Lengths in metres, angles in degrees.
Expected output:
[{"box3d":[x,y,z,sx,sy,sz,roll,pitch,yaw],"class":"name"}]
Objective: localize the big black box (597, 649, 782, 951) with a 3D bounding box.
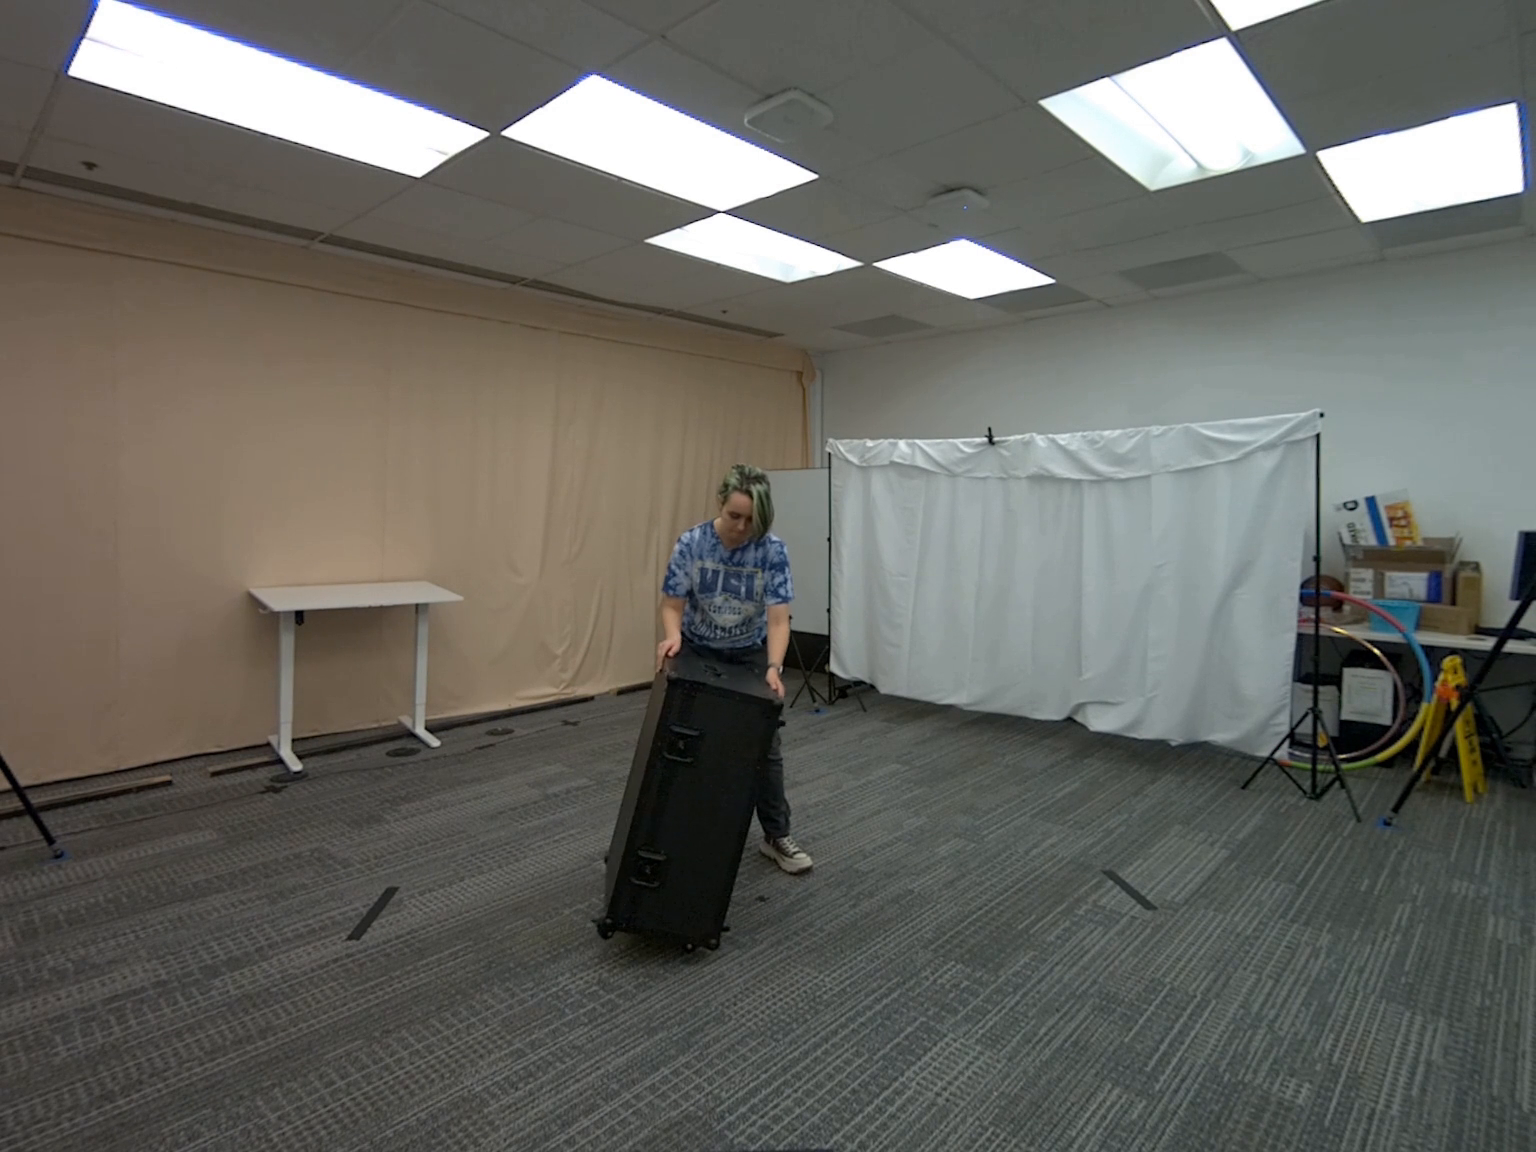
[{"box3d":[-0.268,0.731,2.750,0.393,0.861,0.526,16,1,-9],"class":"big black box"}]
